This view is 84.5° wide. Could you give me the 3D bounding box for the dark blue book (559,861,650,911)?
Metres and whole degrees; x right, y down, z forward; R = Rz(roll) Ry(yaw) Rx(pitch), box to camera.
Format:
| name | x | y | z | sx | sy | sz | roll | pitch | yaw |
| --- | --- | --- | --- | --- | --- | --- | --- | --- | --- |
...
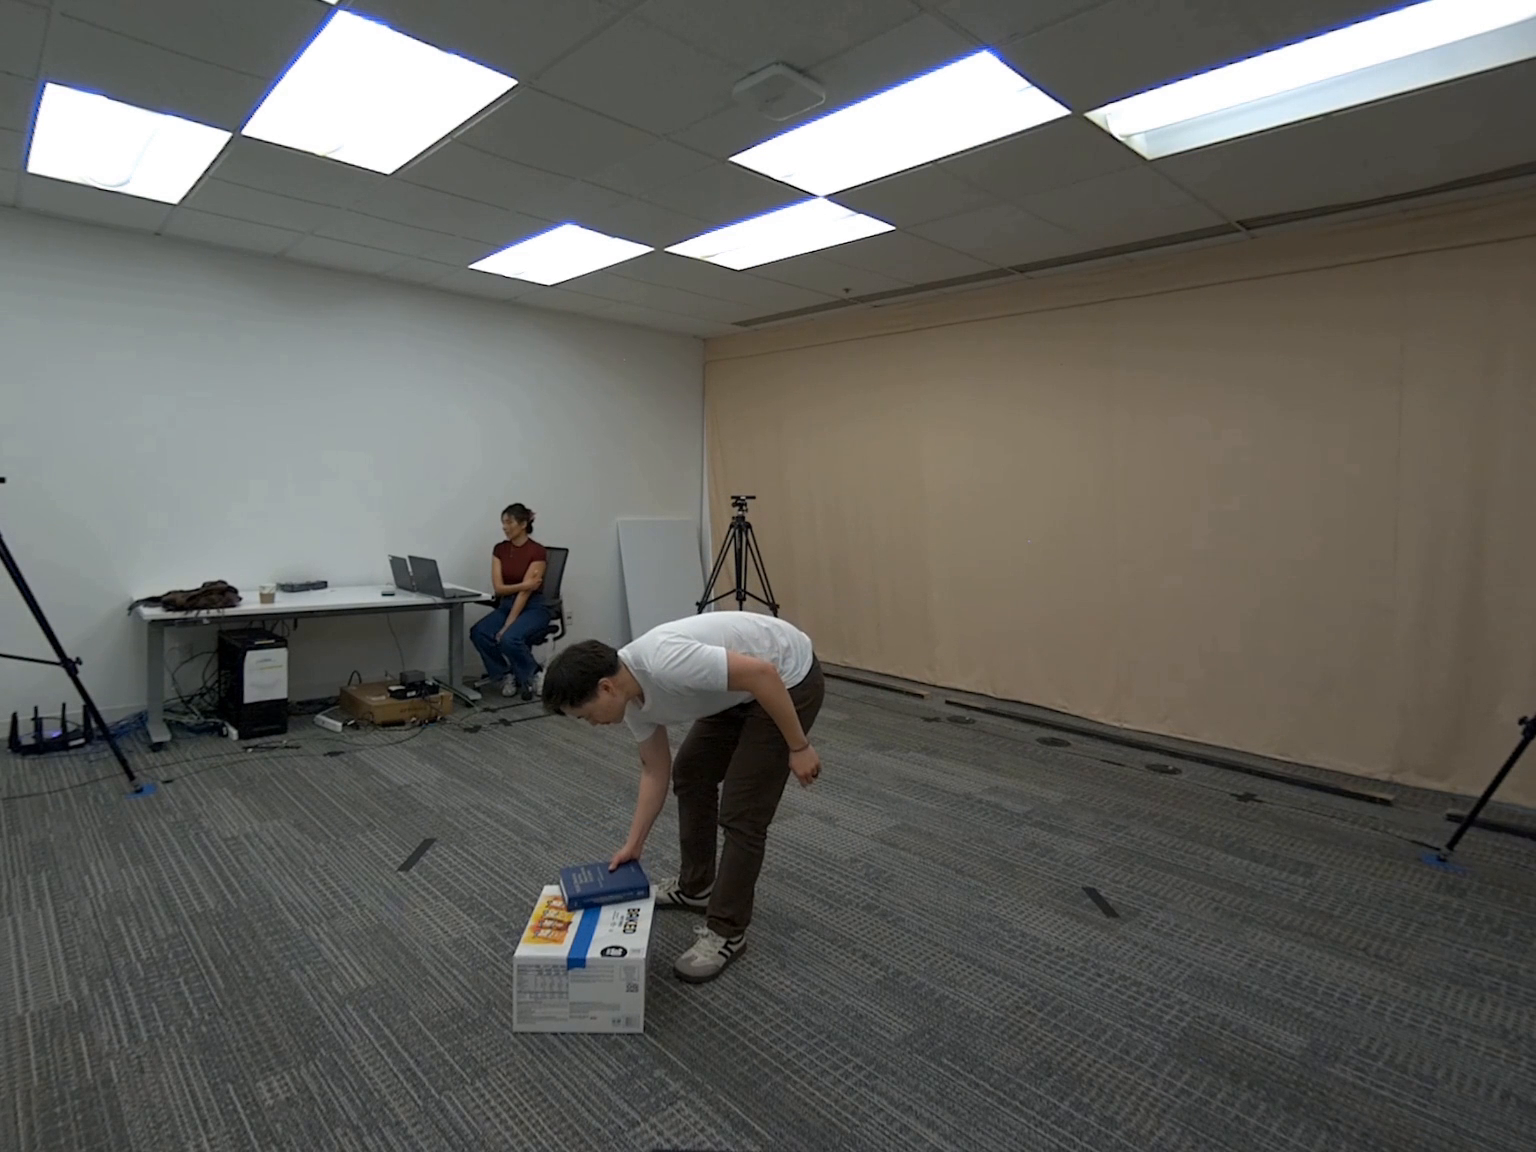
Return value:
| name | x | y | z | sx | sy | sz | roll | pitch | yaw |
| --- | --- | --- | --- | --- | --- | --- | --- | --- | --- |
| dark blue book | -0.497 | 0.925 | 2.502 | 0.241 | 0.045 | 0.167 | -1 | 10 | -20 |
